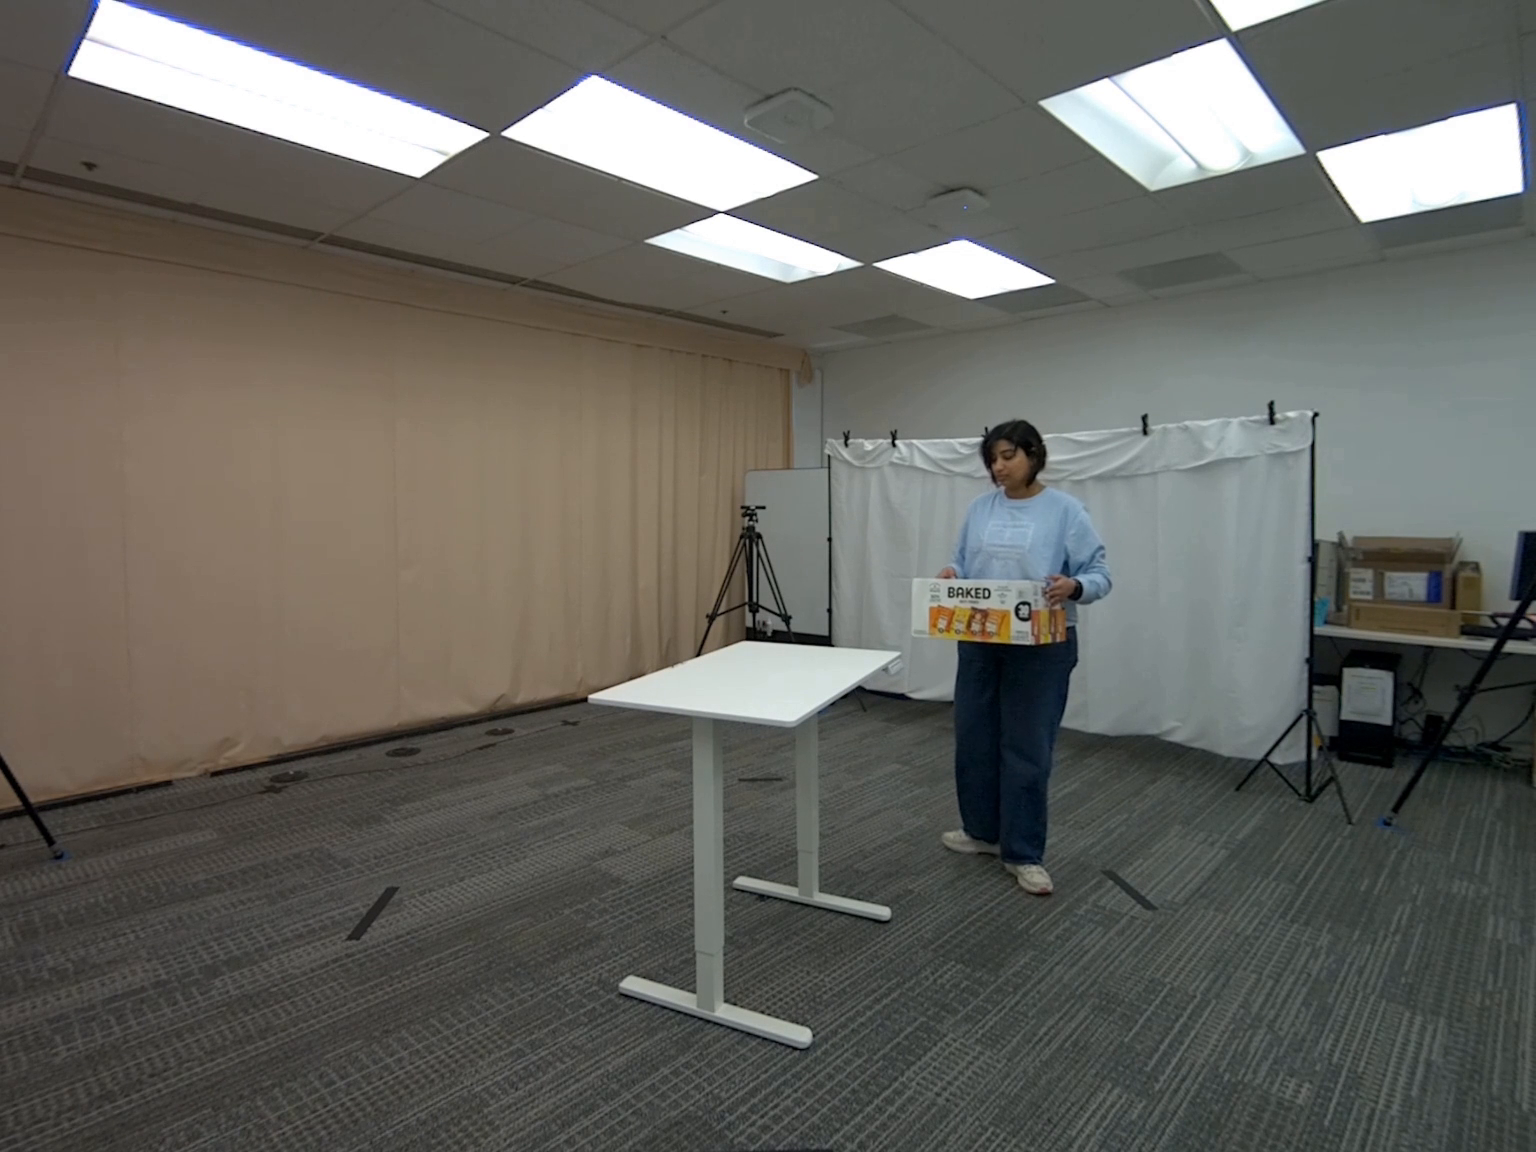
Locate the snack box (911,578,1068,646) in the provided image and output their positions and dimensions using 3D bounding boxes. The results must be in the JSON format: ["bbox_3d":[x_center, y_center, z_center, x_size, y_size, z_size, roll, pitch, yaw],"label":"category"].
[{"bbox_3d":[0.756,0.117,2.888,0.418,0.206,0.329,1,-2,37],"label":"snack box"}]
